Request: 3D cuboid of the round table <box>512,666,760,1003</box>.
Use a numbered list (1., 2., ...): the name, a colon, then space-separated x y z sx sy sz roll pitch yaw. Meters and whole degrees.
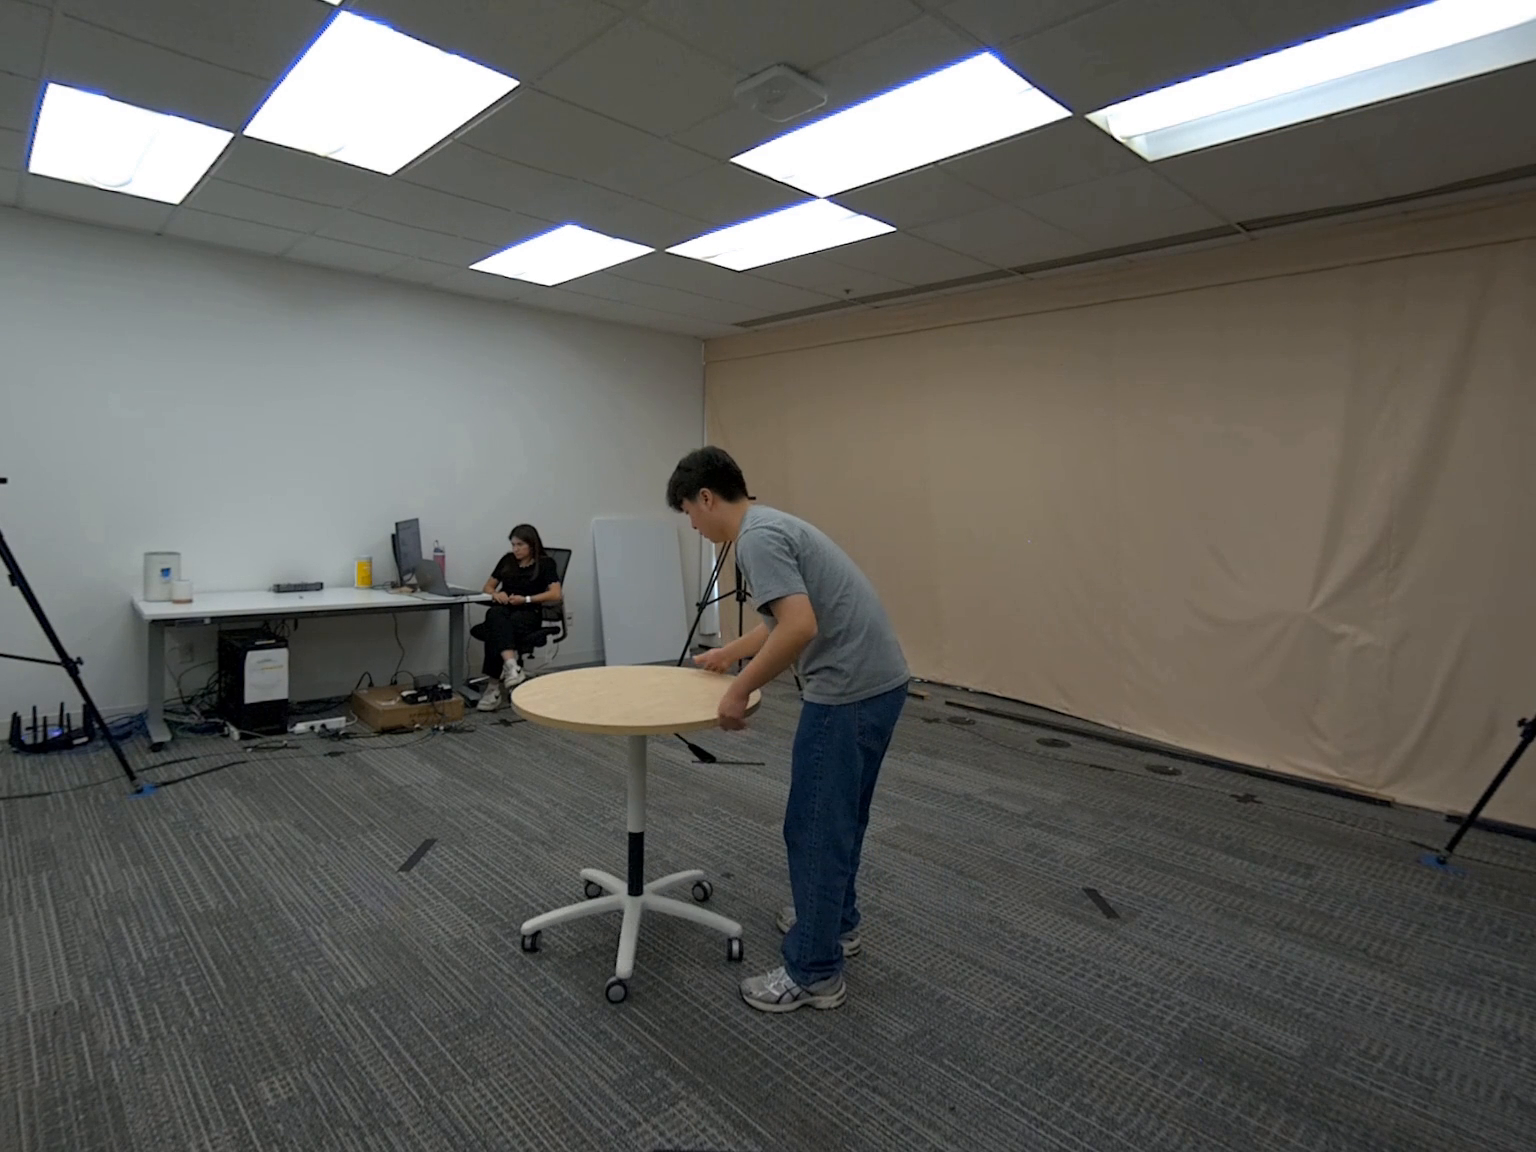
1. round table: -0.419 0.753 2.631 0.763 0.792 0.767 1 4 -1
